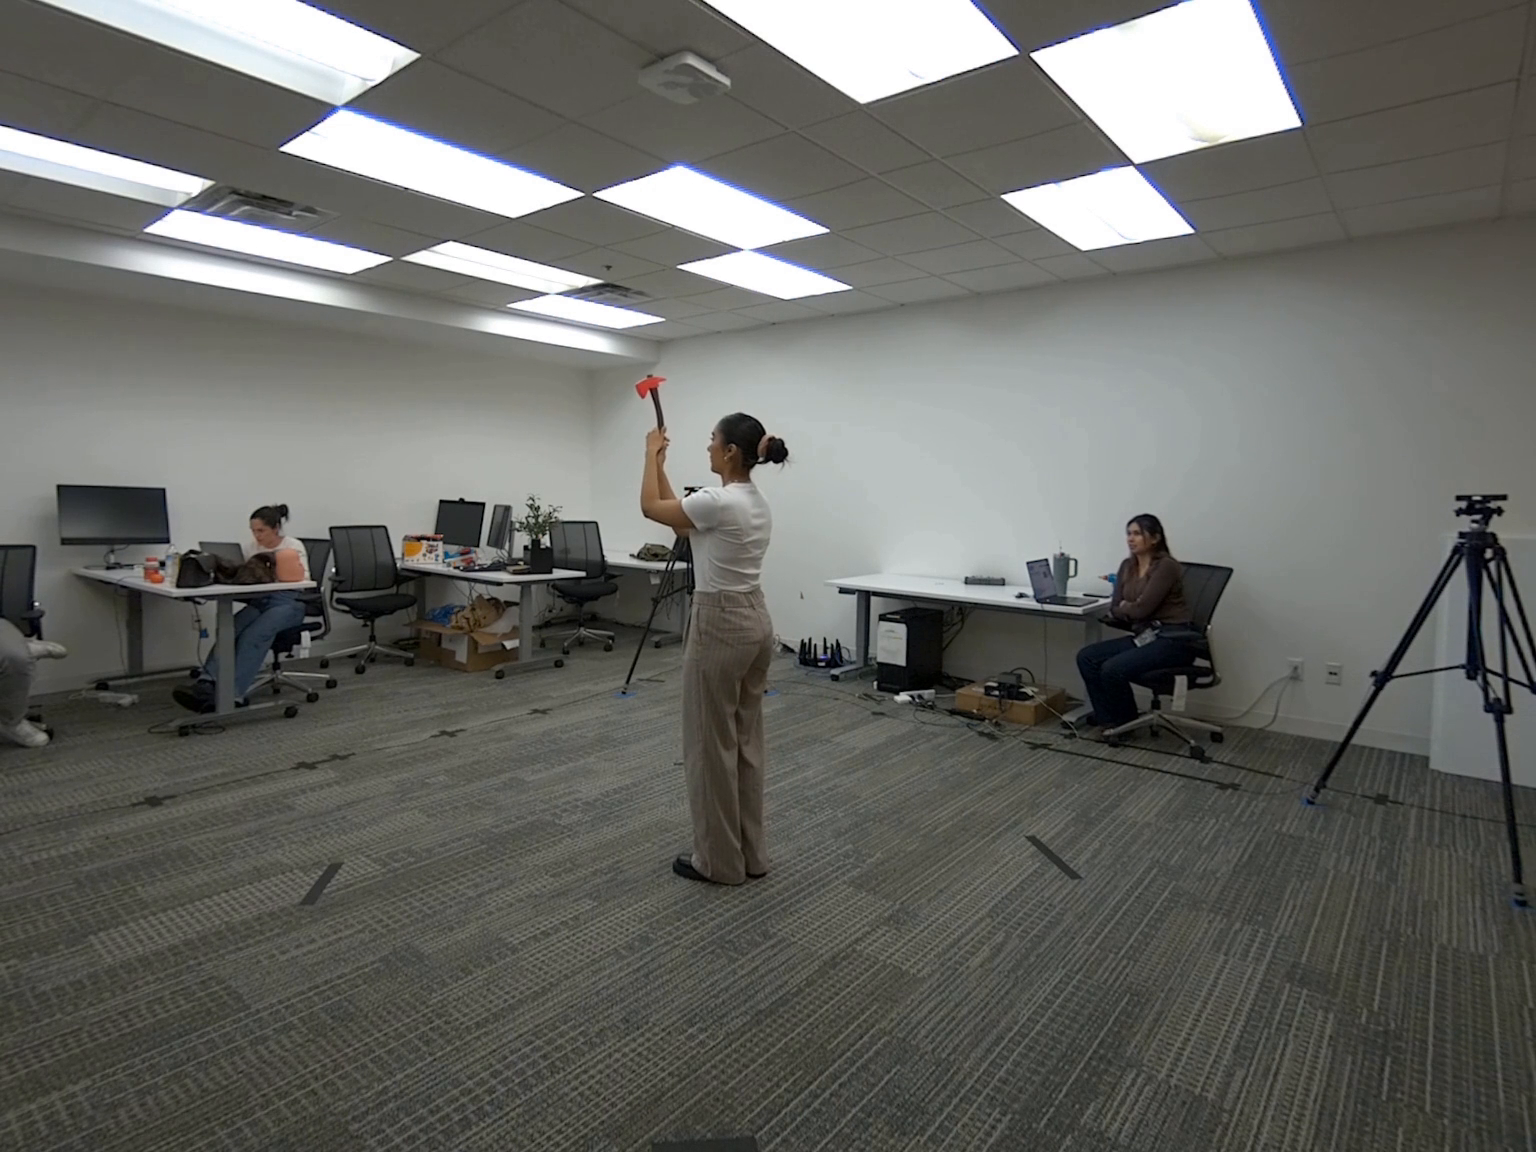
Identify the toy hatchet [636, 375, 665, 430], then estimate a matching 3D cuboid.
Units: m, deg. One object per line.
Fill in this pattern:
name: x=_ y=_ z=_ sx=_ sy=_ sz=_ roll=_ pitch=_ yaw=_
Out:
toy hatchet: x=-0.445 y=-0.619 z=3.161 sx=0.127 sy=0.270 sz=0.030 roll=2 pitch=-1 yaw=-34
